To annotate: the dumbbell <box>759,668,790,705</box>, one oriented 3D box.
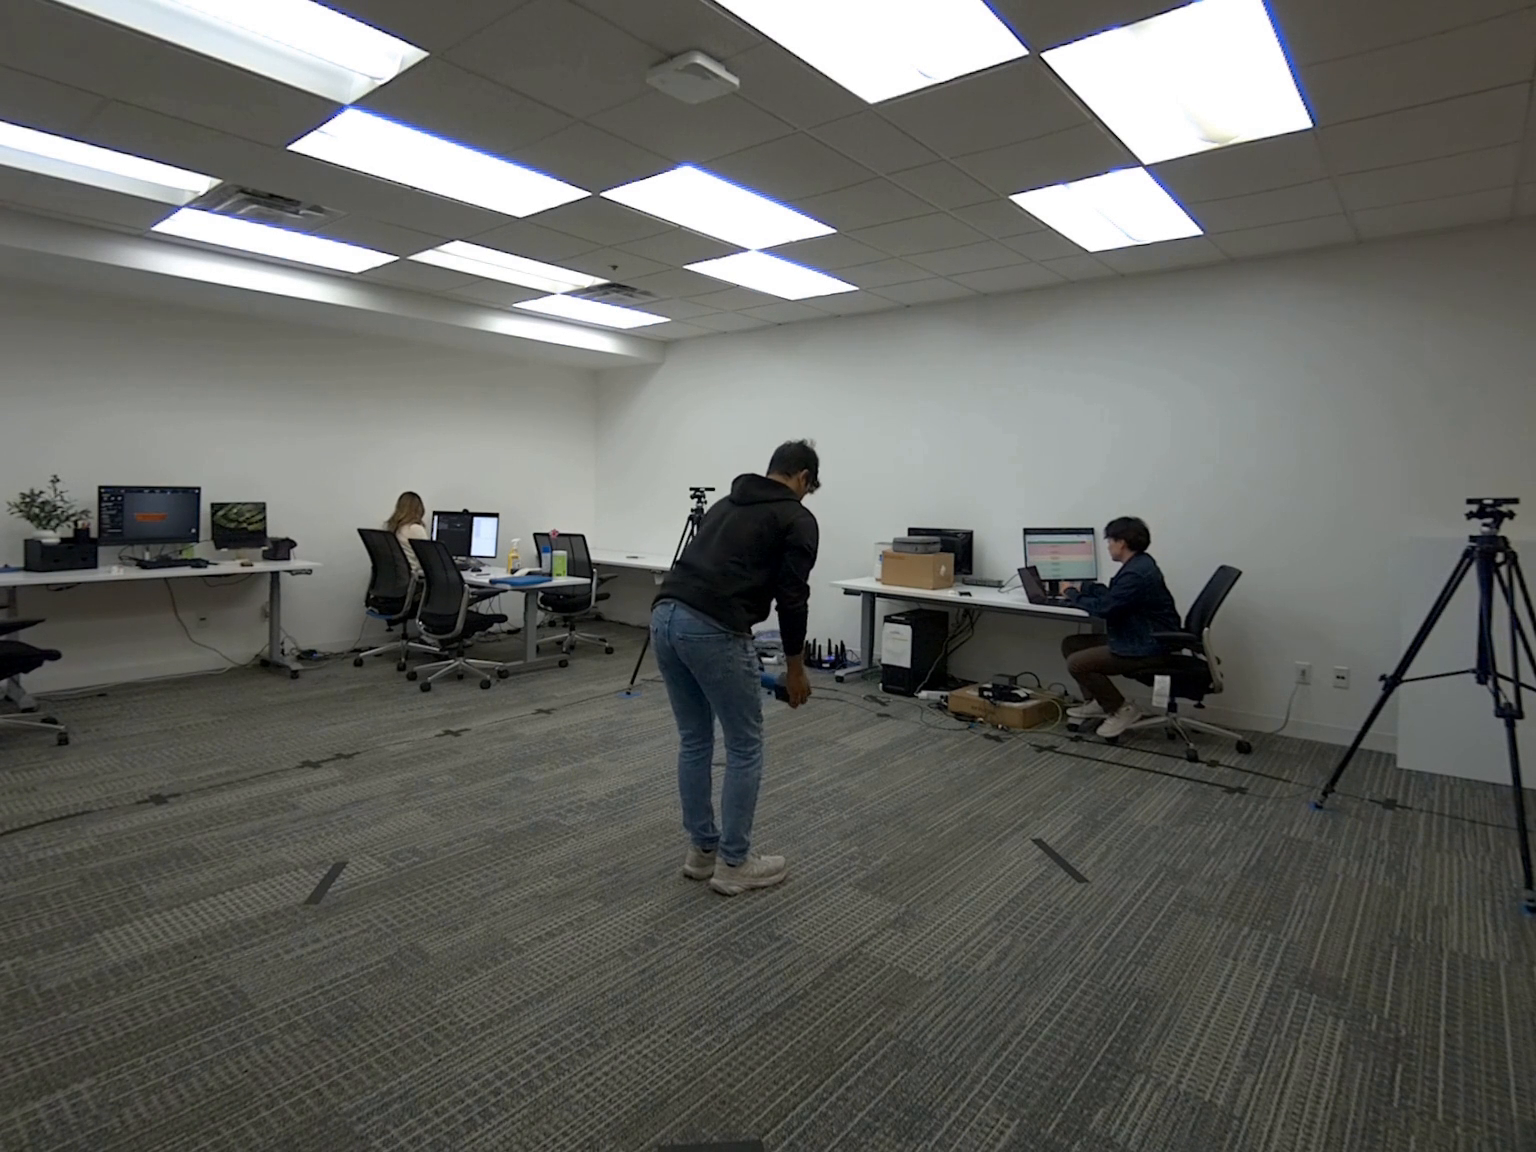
[{"bbox_3d":[-0.009,0.396,3.184,0.304,0.105,0.123,10,49,44],"label":"dumbbell"}]
